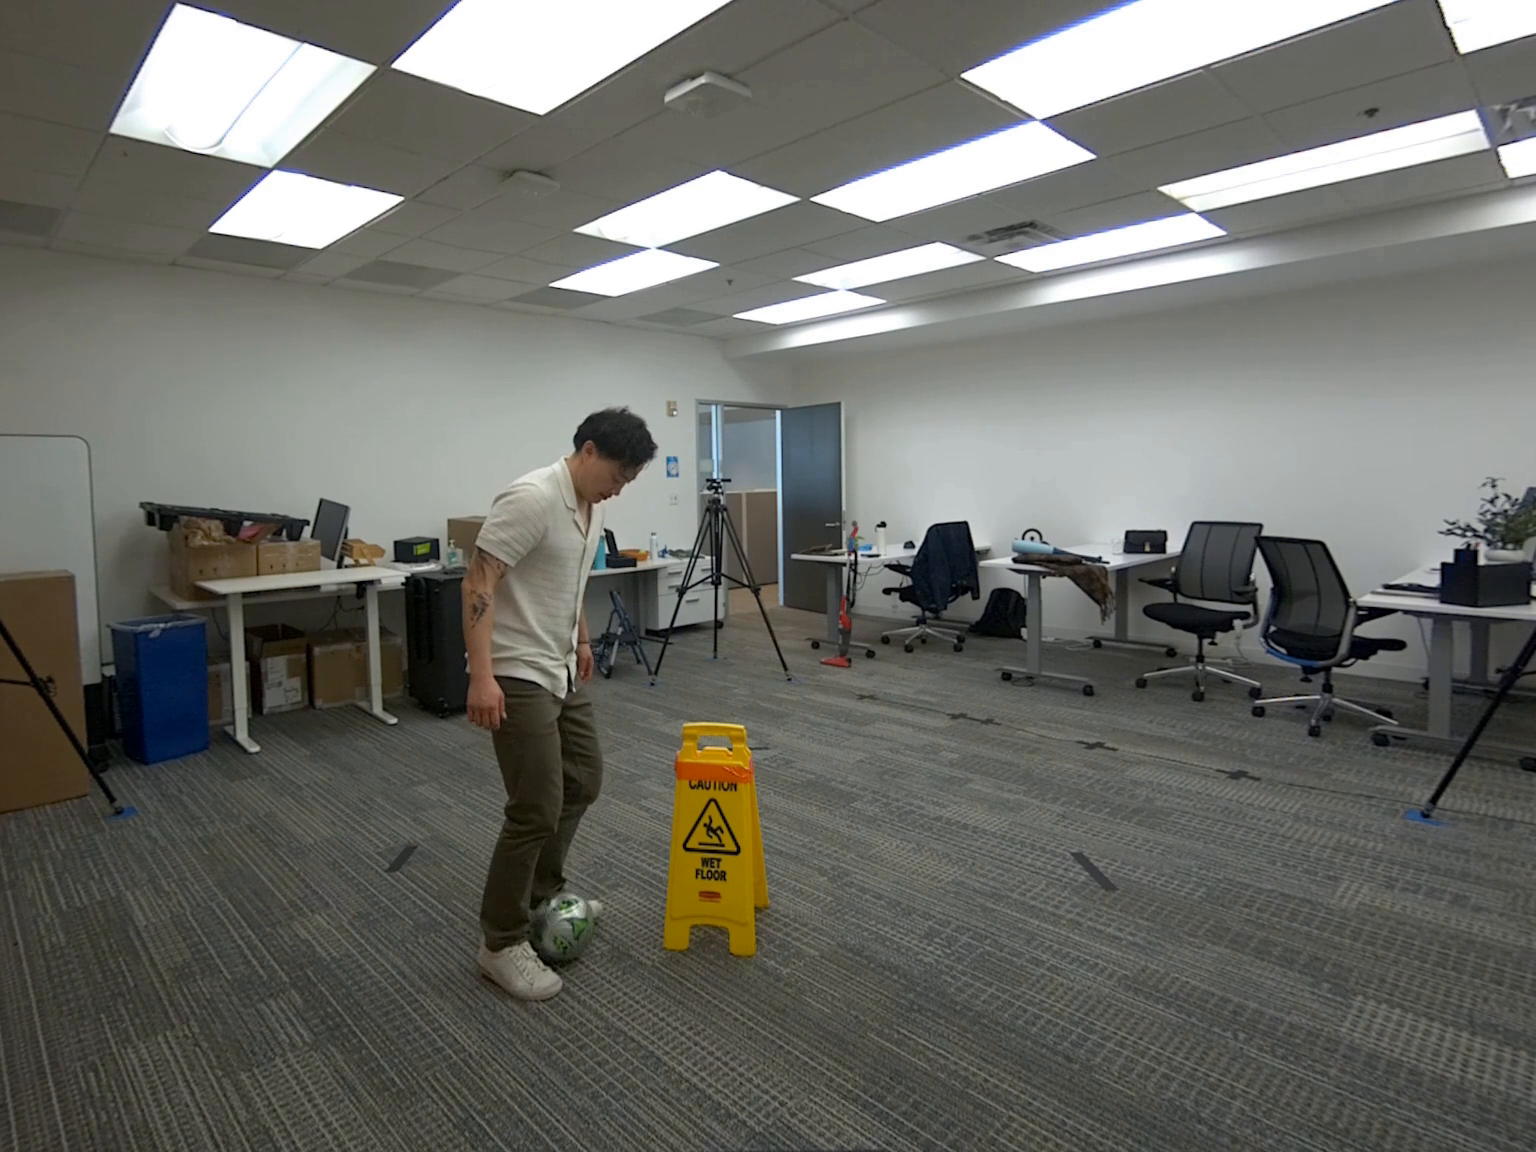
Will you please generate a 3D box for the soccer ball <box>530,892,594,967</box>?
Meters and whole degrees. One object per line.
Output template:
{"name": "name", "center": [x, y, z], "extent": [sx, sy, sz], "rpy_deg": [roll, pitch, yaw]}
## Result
{"name": "soccer ball", "center": [-0.584, 1.036, 2.510], "extent": [0.187, 0.187, 0.188], "rpy_deg": [-1, 5, -2]}
